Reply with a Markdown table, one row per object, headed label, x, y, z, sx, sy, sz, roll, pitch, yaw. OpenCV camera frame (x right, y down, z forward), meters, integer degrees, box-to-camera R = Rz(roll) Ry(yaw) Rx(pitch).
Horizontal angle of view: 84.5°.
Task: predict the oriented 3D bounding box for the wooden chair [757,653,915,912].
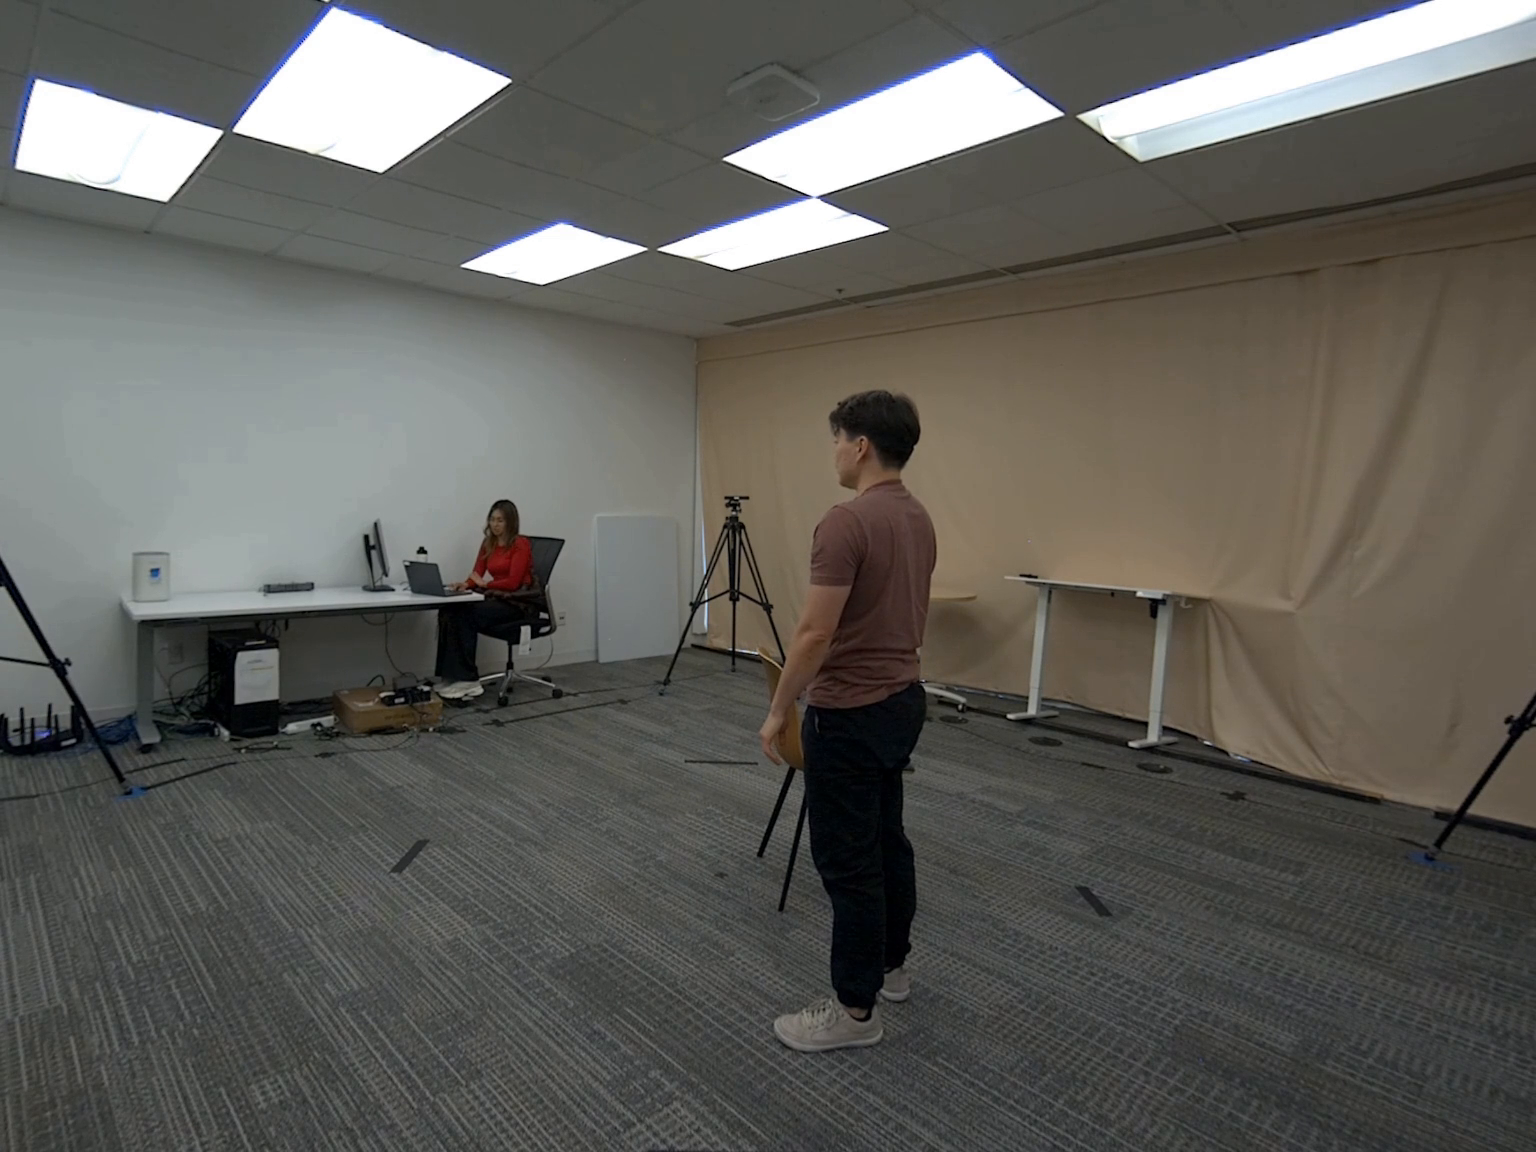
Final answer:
| label | x | y | z | sx | sy | sz | roll | pitch | yaw |
| --- | --- | --- | --- | --- | --- | --- | --- | --- | --- |
| wooden chair | 0.238 | 0.693 | 3.054 | 0.520 | 0.875 | 0.482 | -3 | 4 | -9 |
